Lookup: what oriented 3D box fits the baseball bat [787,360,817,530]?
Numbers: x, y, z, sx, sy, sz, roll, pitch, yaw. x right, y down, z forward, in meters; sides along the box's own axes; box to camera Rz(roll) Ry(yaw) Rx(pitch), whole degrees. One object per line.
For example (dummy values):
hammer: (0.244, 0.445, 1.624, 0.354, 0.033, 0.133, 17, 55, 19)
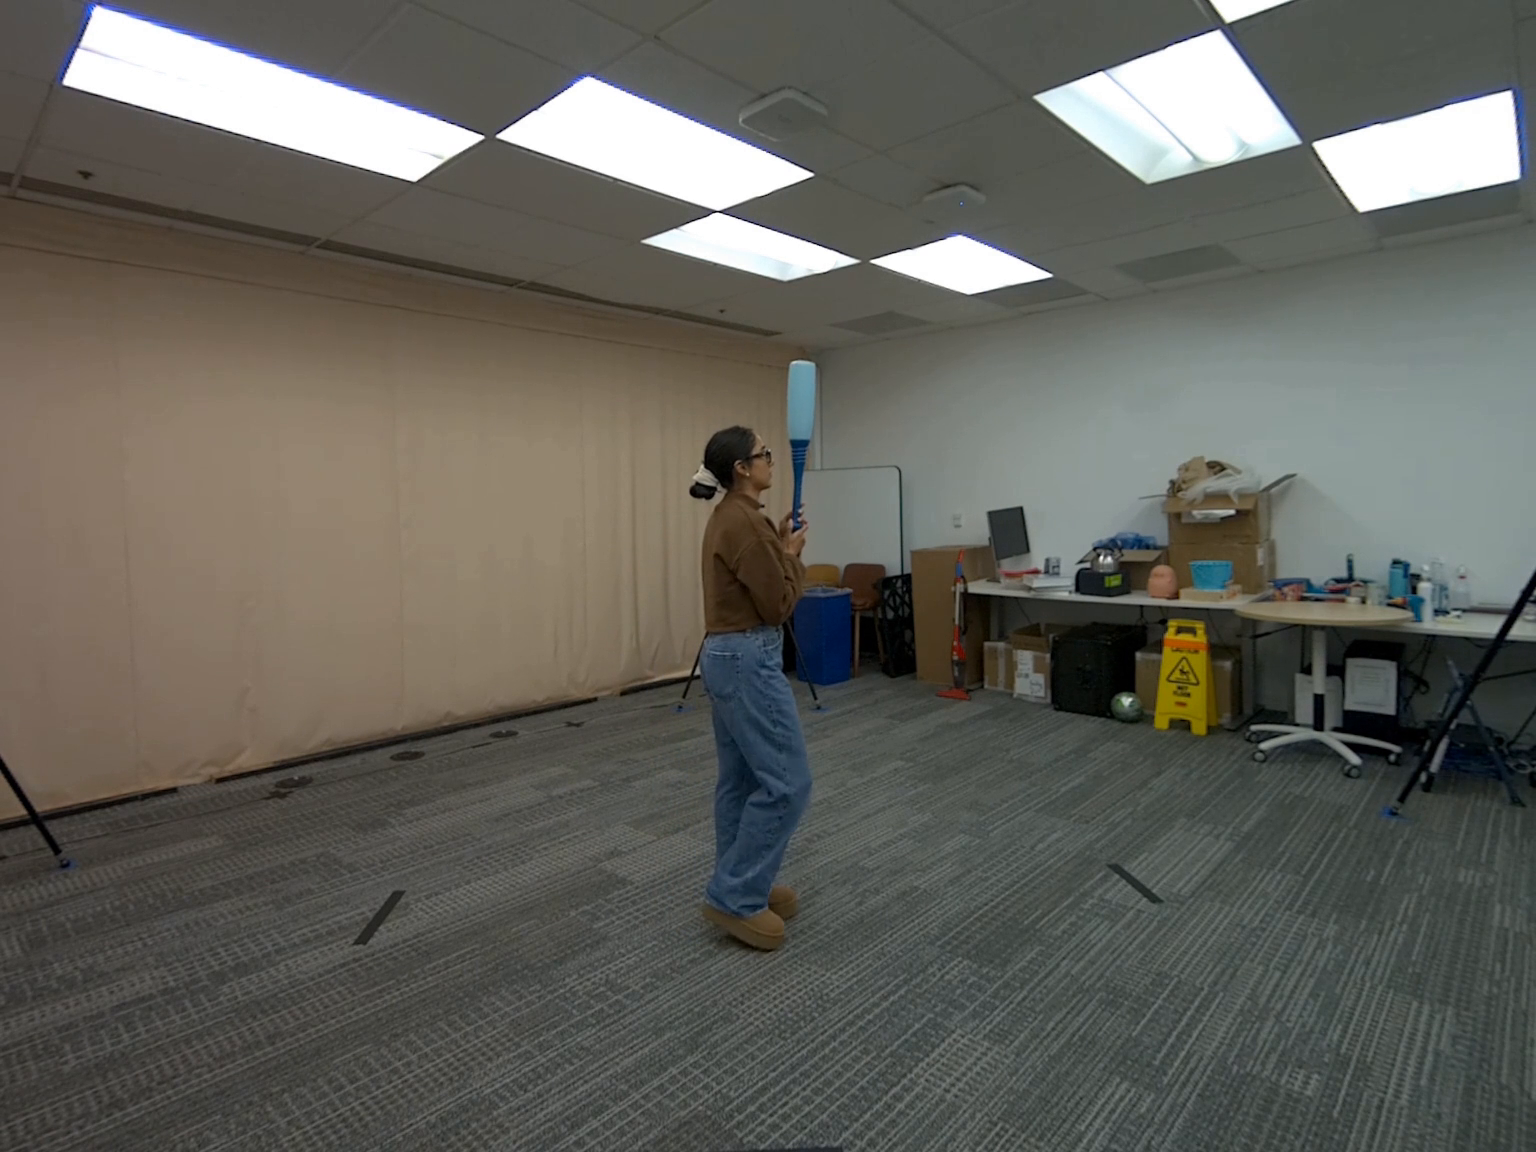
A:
baseball bat: (0.101, -0.429, 2.732, 0.089, 0.541, 0.089, 5, 5, -2)
